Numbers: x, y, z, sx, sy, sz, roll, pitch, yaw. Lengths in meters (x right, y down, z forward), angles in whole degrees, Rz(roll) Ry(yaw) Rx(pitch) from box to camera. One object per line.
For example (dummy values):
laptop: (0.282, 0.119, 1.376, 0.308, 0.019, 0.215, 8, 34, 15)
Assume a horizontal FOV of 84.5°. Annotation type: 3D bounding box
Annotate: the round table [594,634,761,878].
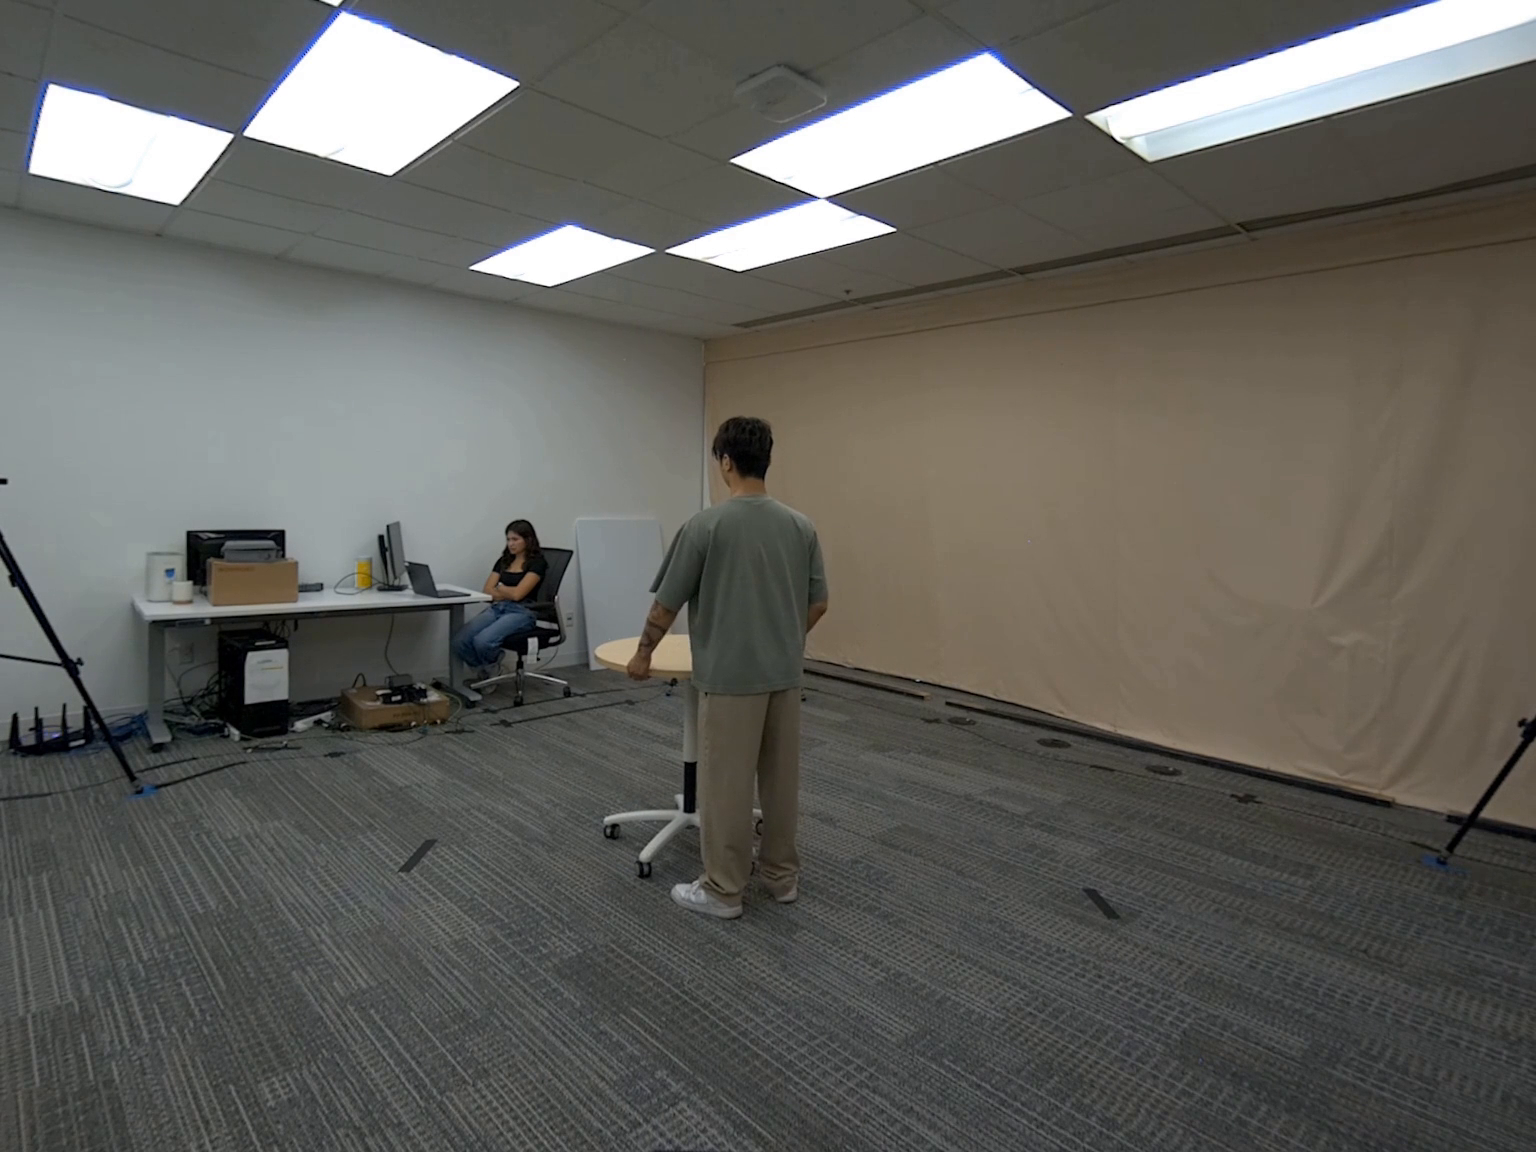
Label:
round table: (-0.312, 0.686, 3.364, 0.784, 0.784, 0.788, 2, 5, -2)
